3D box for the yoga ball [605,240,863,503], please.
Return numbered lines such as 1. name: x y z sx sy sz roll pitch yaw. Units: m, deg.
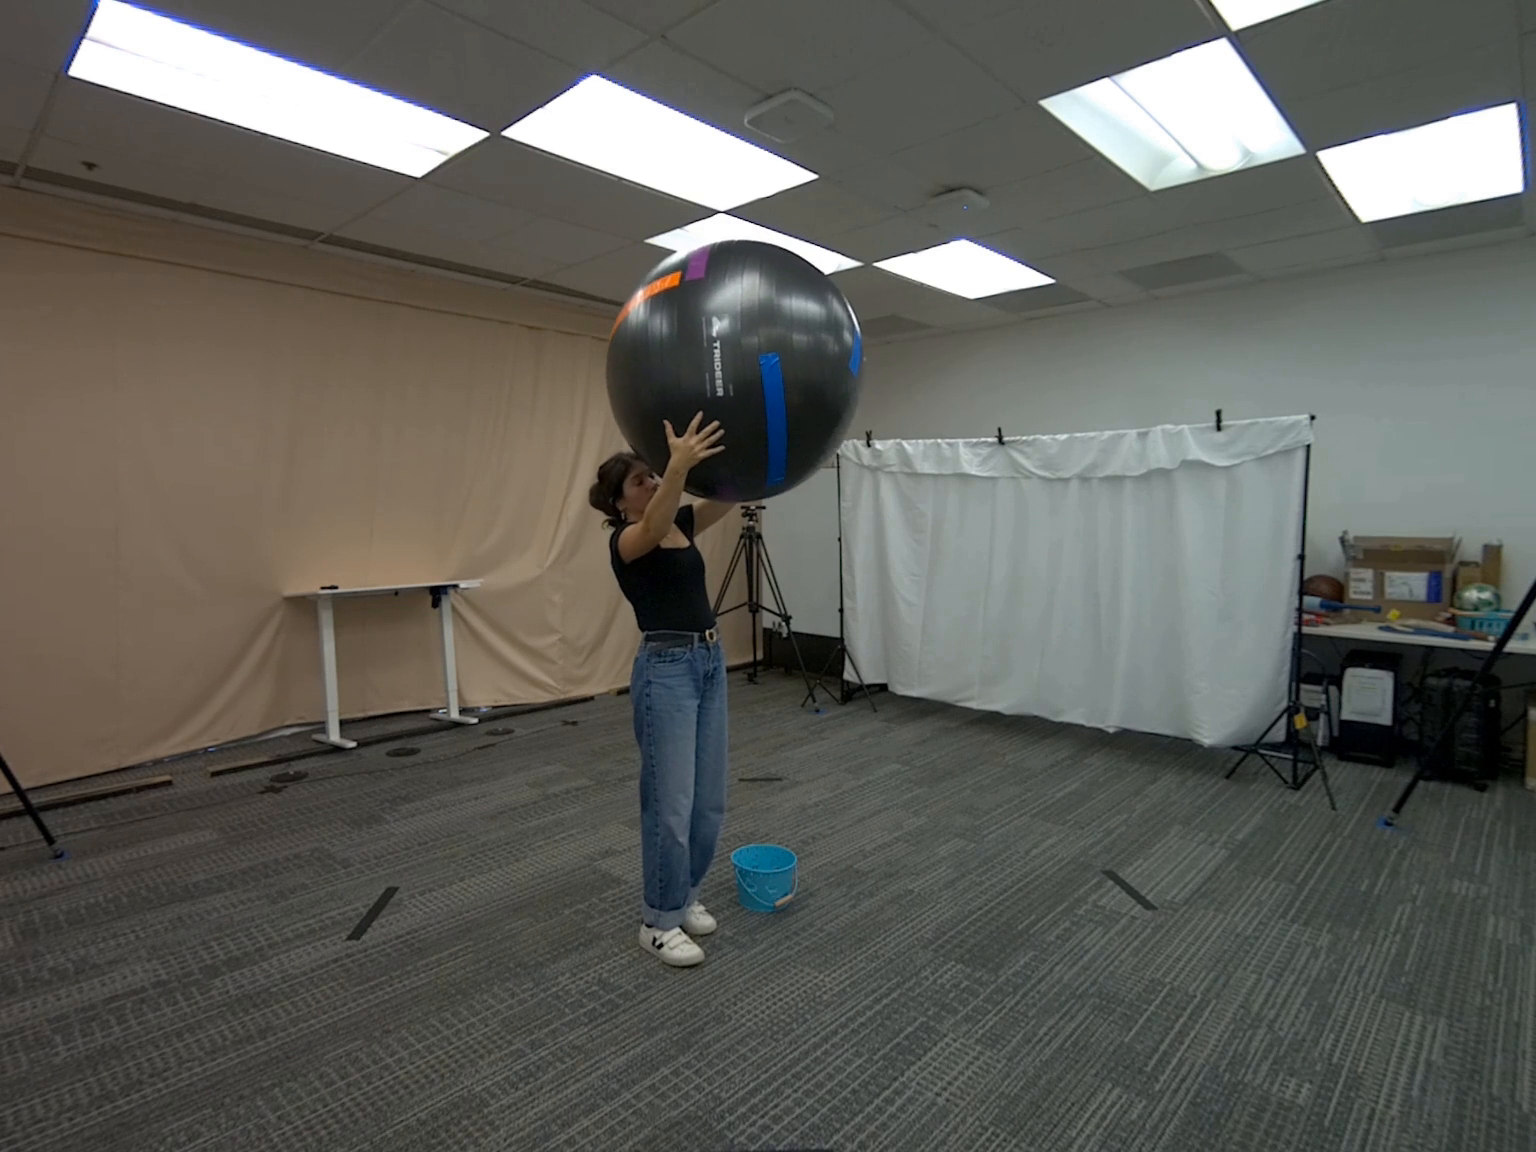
1. yoga ball: -0.086 -0.582 2.491 0.757 0.756 0.760 0 4 -2
